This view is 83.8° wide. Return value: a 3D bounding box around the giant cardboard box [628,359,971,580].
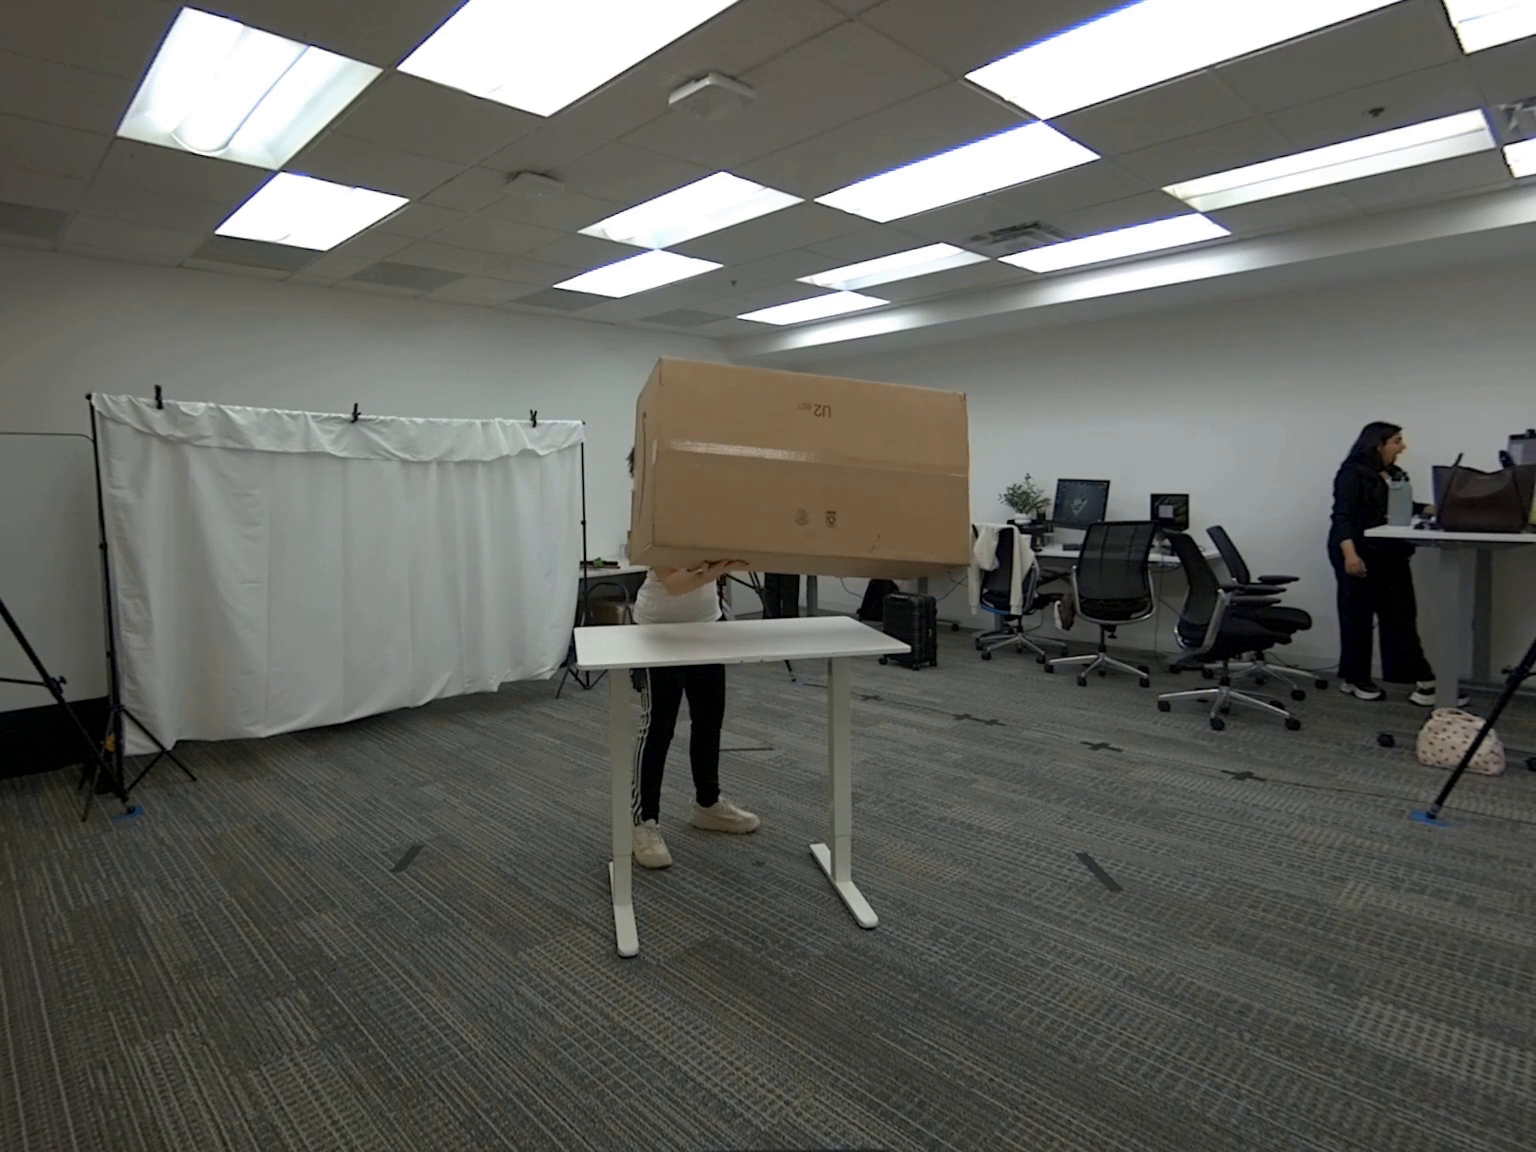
[{"bbox_3d":[0.092,-0.313,2.815,1.011,0.589,0.450,4,-10,-15],"label":"giant cardboard box"}]
